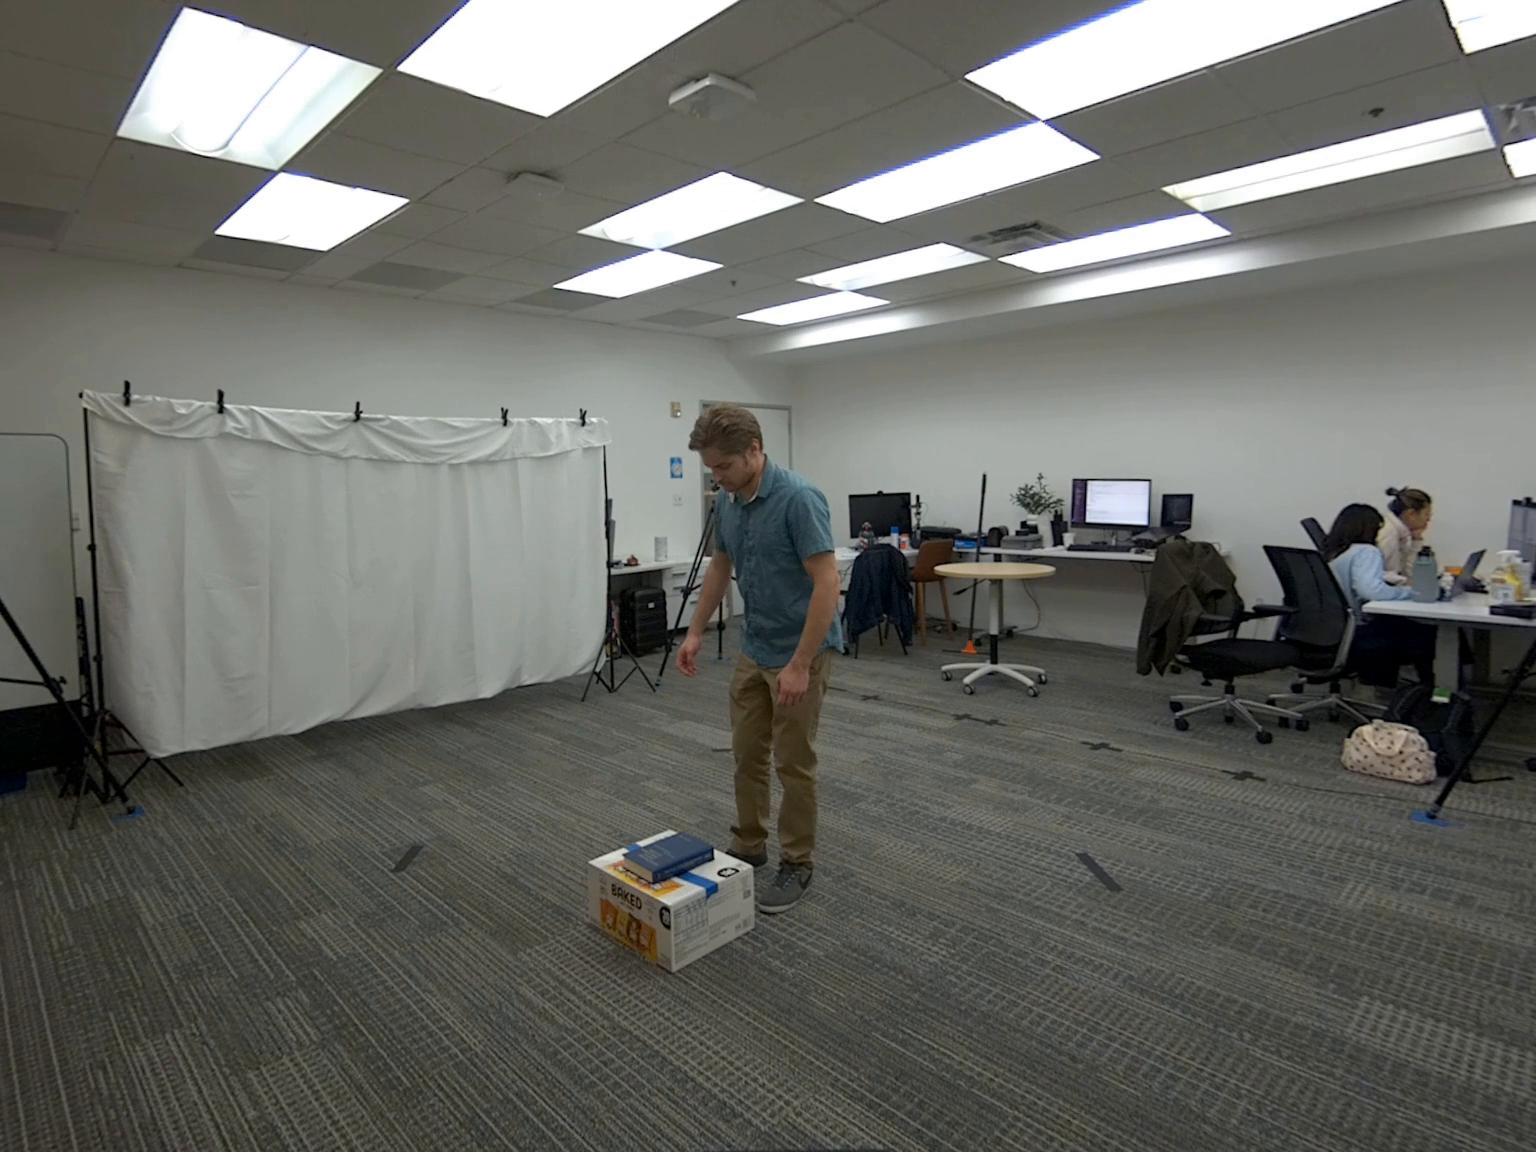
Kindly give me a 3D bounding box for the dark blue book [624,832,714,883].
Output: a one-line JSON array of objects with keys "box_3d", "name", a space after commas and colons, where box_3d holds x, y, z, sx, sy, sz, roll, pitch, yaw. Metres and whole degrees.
[{"box_3d": [-0.312, 0.887, 2.680, 0.239, 0.045, 0.168, -8, 9, -43], "name": "dark blue book"}]
